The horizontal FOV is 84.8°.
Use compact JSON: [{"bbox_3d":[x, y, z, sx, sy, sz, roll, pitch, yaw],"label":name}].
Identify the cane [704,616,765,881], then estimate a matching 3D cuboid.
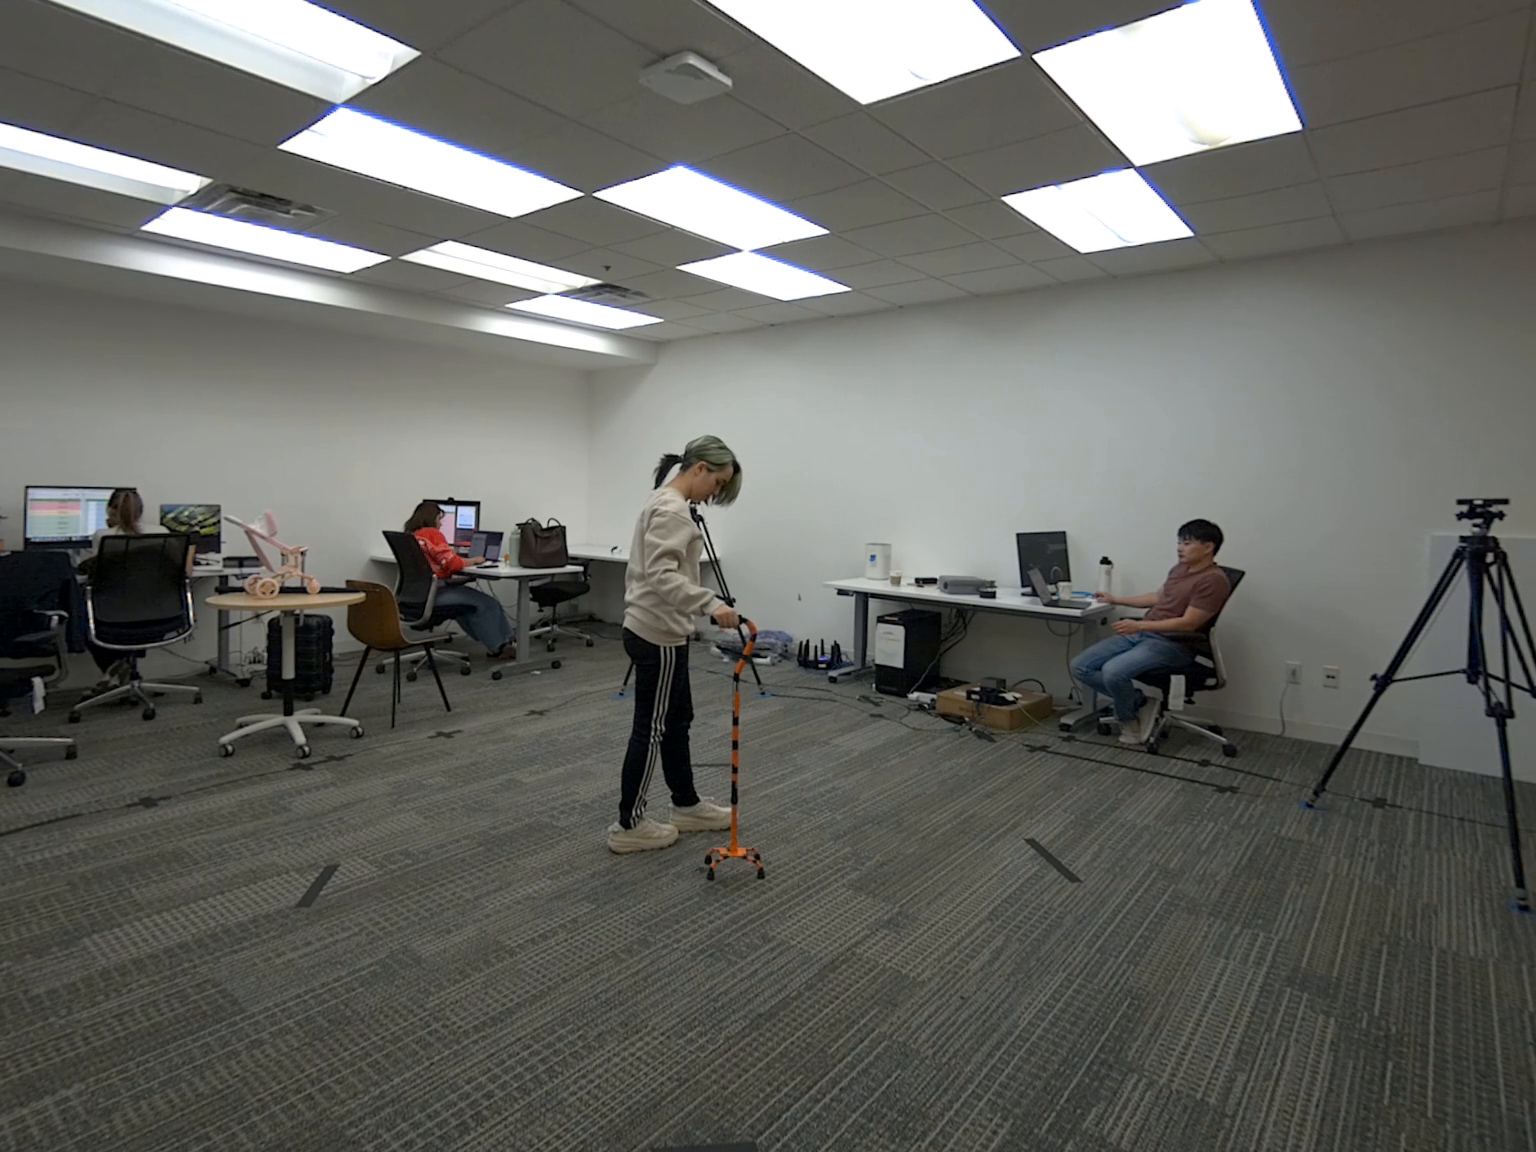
[{"bbox_3d":[-0.117,0.598,2.993,0.205,0.905,0.153,1,3,-8],"label":"cane"}]
